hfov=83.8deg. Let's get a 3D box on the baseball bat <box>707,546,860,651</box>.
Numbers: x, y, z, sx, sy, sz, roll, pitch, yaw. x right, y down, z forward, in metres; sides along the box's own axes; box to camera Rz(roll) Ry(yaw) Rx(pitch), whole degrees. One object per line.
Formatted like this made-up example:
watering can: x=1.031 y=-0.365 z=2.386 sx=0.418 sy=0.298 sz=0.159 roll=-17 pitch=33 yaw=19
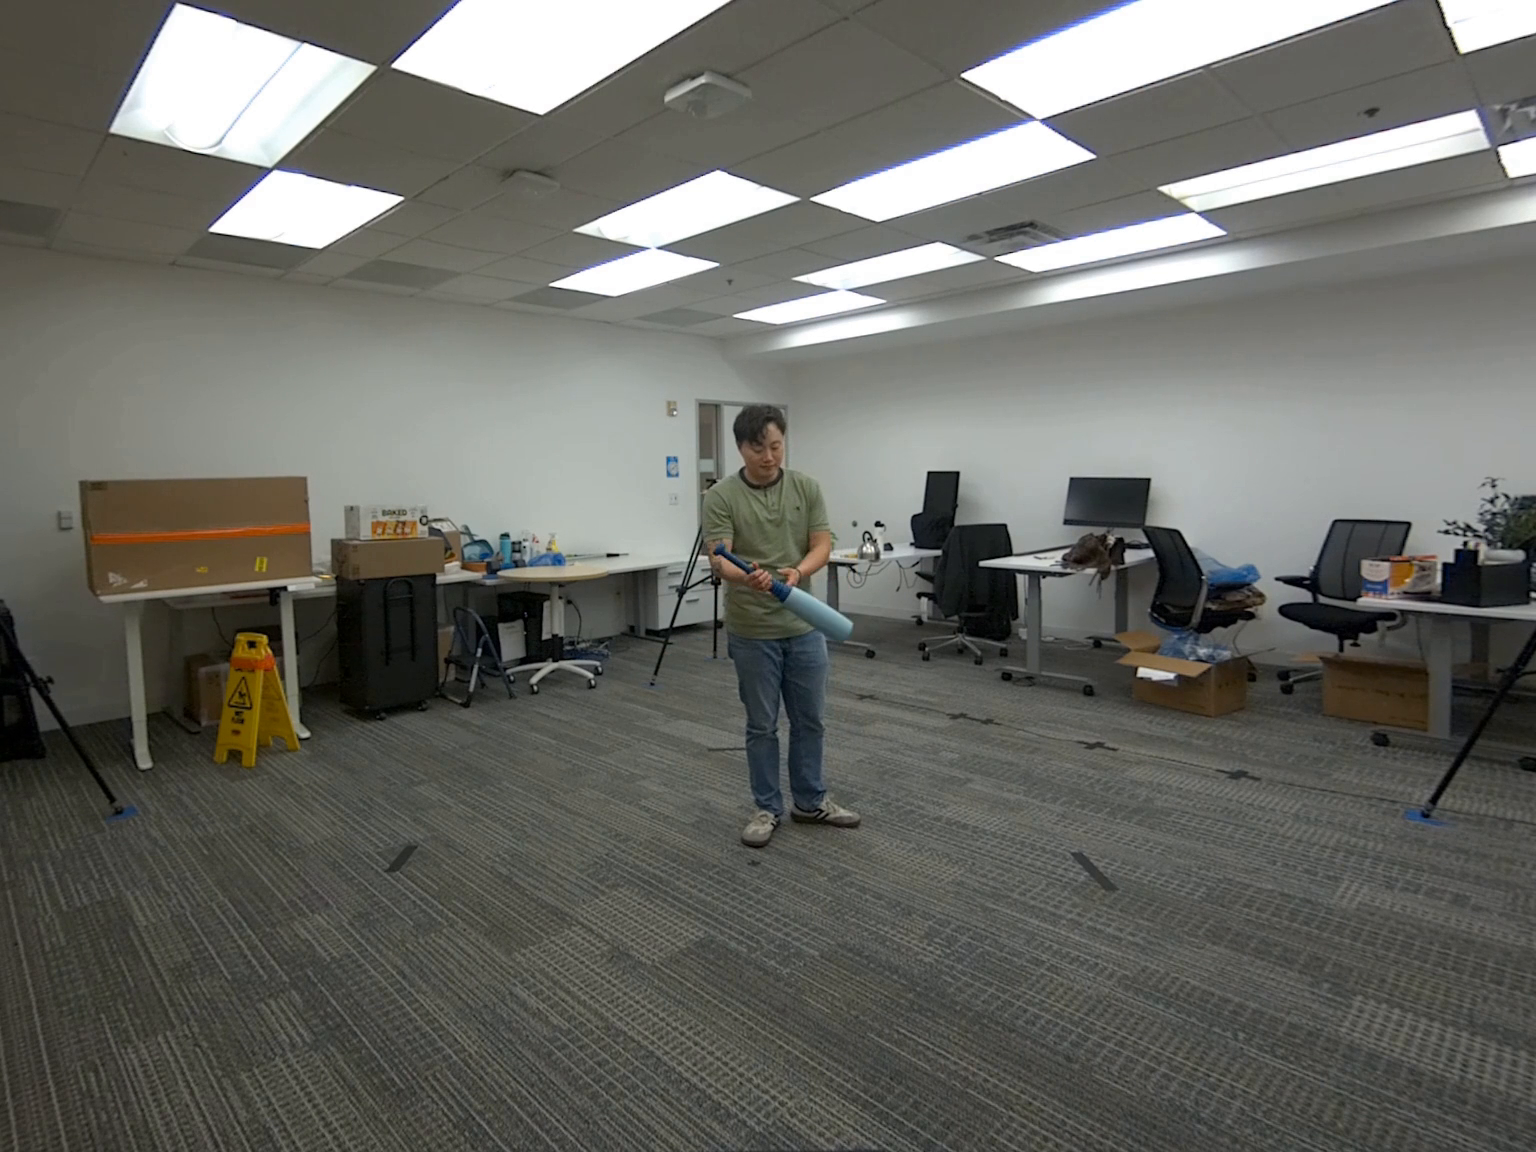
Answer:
baseball bat: x=0.050 y=0.061 z=2.886 sx=0.539 sy=0.089 sz=0.090 roll=33 pitch=1 yaw=-5
